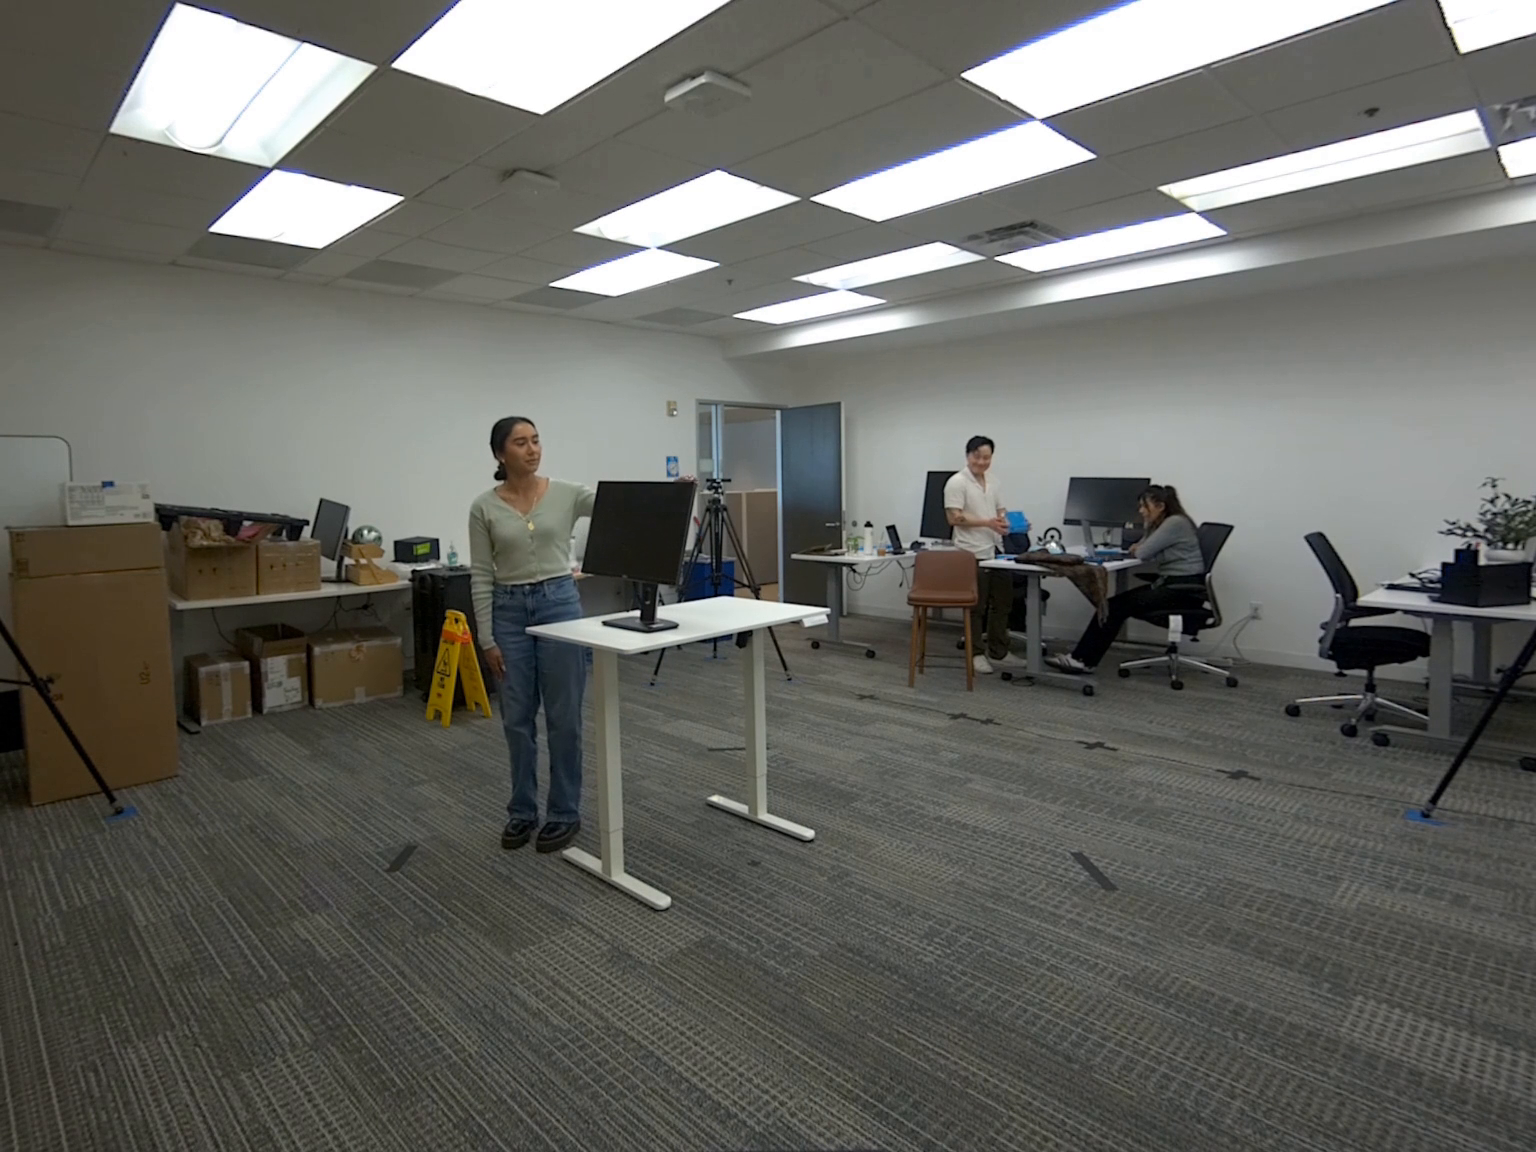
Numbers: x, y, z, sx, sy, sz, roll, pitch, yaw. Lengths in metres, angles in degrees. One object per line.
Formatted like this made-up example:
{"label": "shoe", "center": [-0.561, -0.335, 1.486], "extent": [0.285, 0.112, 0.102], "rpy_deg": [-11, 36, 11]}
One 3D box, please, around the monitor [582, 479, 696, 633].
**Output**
{"label": "monitor", "center": [-0.444, -0.073, 3.030], "extent": [0.556, 0.521, 0.182], "rpy_deg": [4, 4, 42]}
